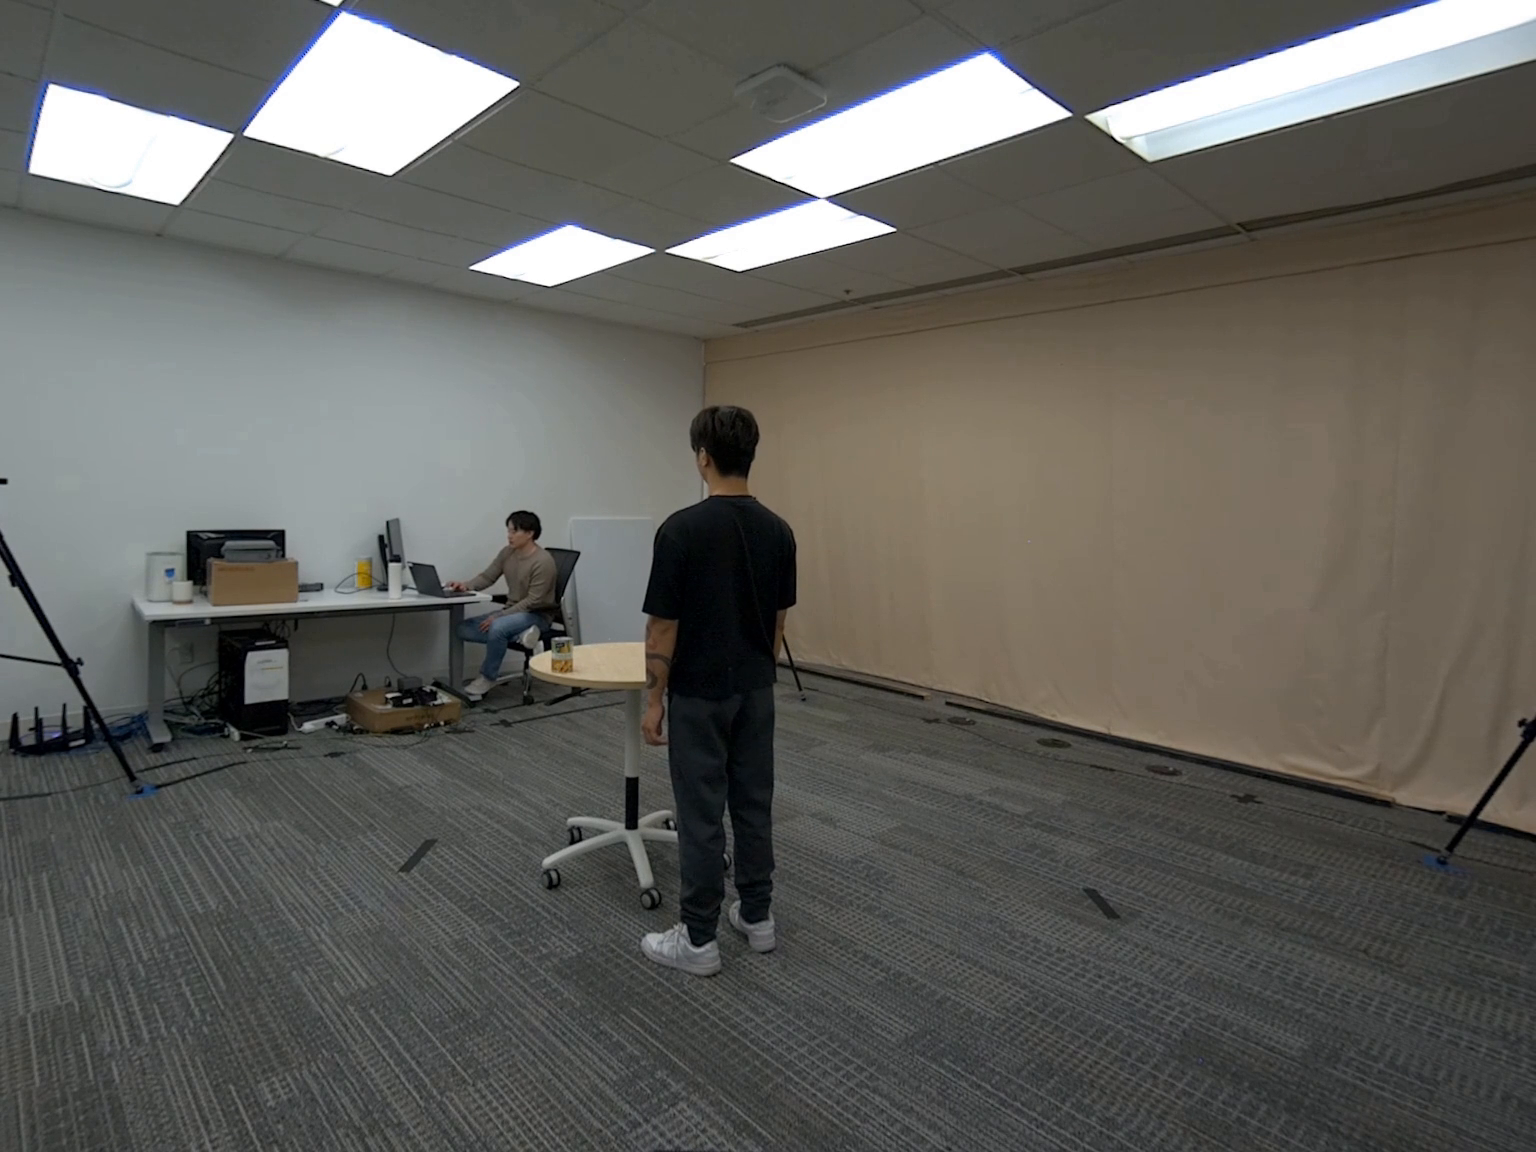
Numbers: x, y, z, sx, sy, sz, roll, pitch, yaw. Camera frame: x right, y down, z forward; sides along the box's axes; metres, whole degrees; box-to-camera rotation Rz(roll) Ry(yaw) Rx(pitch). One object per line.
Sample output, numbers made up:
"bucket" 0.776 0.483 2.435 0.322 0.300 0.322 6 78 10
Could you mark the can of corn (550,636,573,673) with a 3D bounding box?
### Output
"can of corn" -0.724 0.273 2.909 0.074 0.110 0.074 2 5 -2
